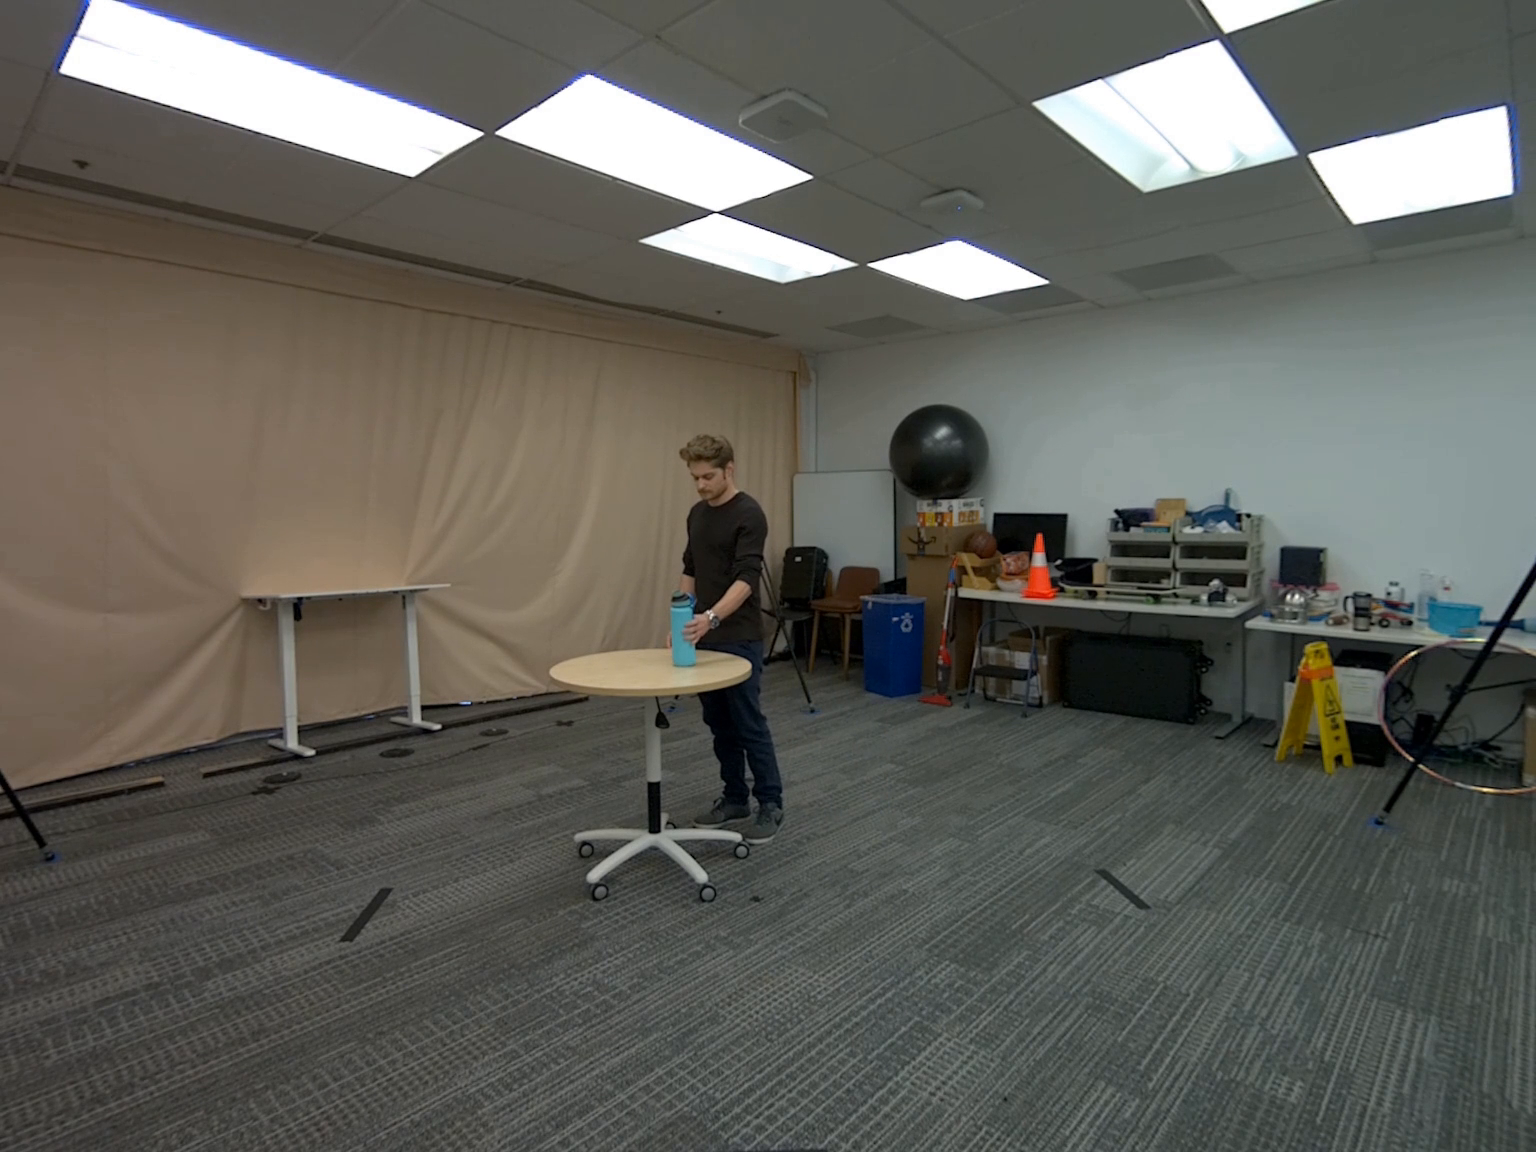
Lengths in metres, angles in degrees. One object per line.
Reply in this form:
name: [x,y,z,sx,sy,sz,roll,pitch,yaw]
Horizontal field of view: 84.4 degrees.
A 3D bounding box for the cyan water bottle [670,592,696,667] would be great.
cyan water bottle: [-0.322,0.197,3.215,0.092,0.282,0.093,3,9,-2]
